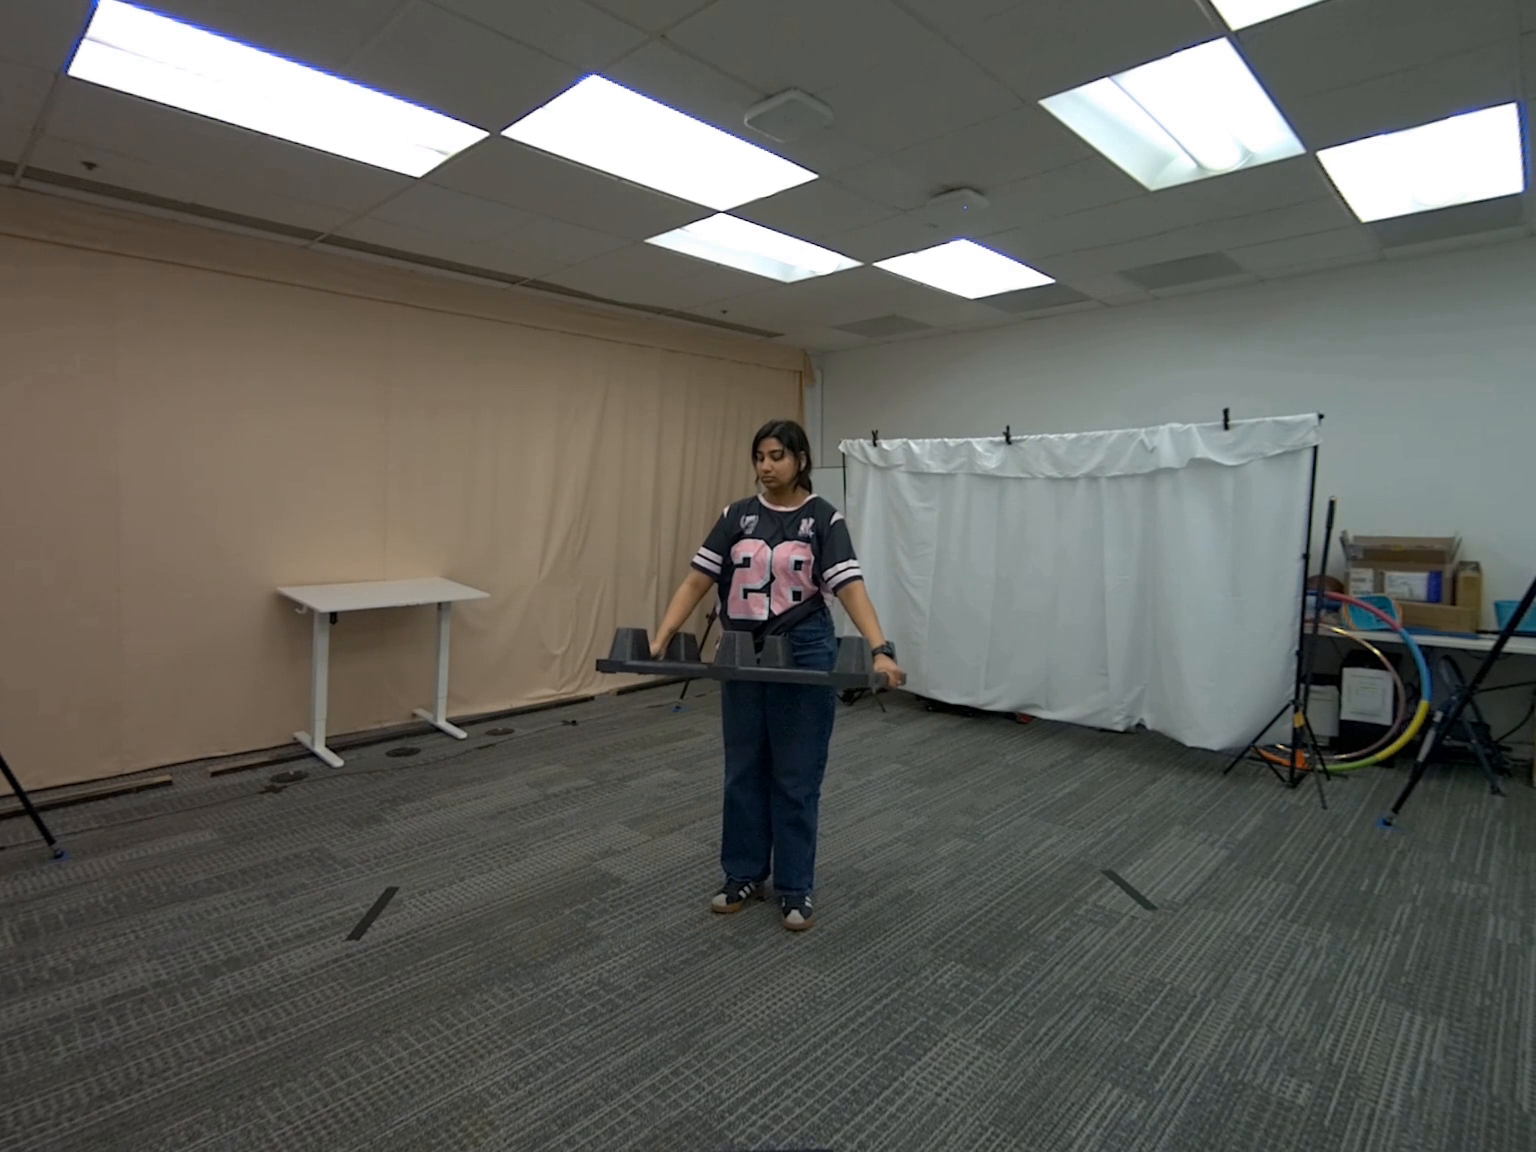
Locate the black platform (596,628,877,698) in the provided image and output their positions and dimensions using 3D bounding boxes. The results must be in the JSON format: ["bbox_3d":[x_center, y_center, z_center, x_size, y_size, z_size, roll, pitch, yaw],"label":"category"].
[{"bbox_3d":[-0.036,0.248,2.550,0.823,0.144,0.590,1,-6,20],"label":"black platform"}]
